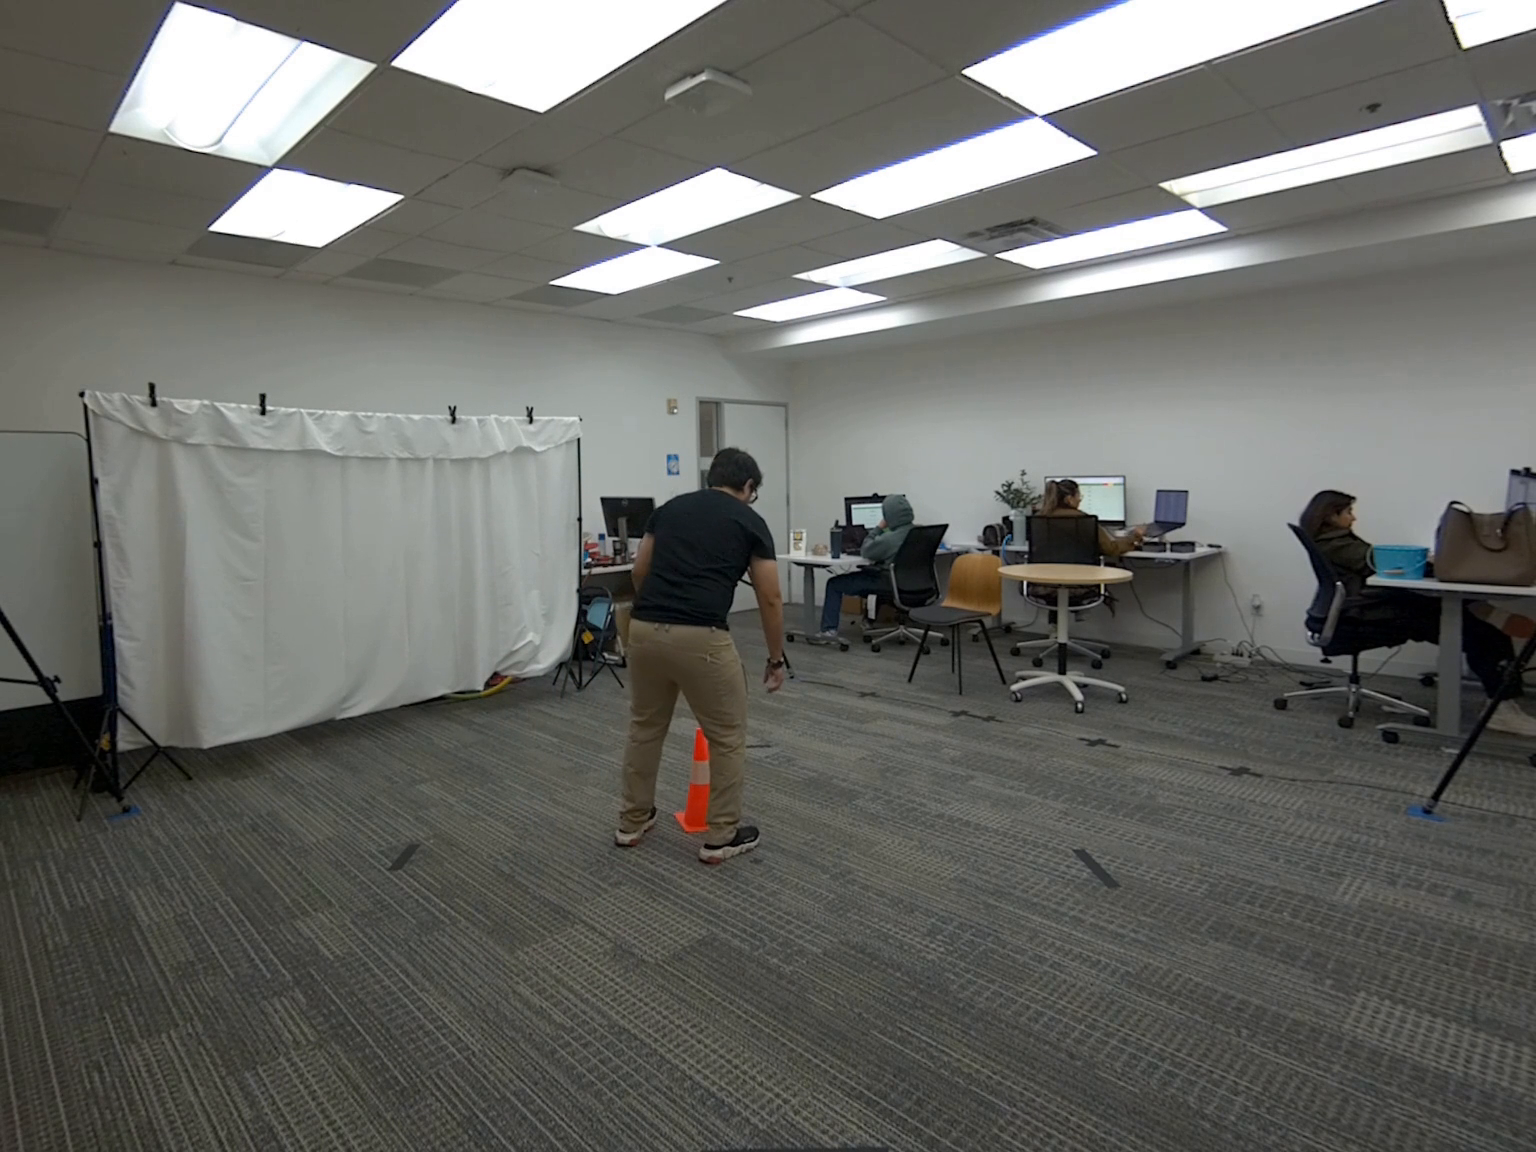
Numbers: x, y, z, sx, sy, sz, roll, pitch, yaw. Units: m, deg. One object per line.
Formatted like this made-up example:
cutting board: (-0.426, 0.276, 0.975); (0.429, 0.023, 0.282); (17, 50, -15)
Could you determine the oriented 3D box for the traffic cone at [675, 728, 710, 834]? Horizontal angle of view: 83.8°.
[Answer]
traffic cone: (-0.271, 0.811, 3.474); (0.201, 0.382, 0.208); (-5, 5, -23)
